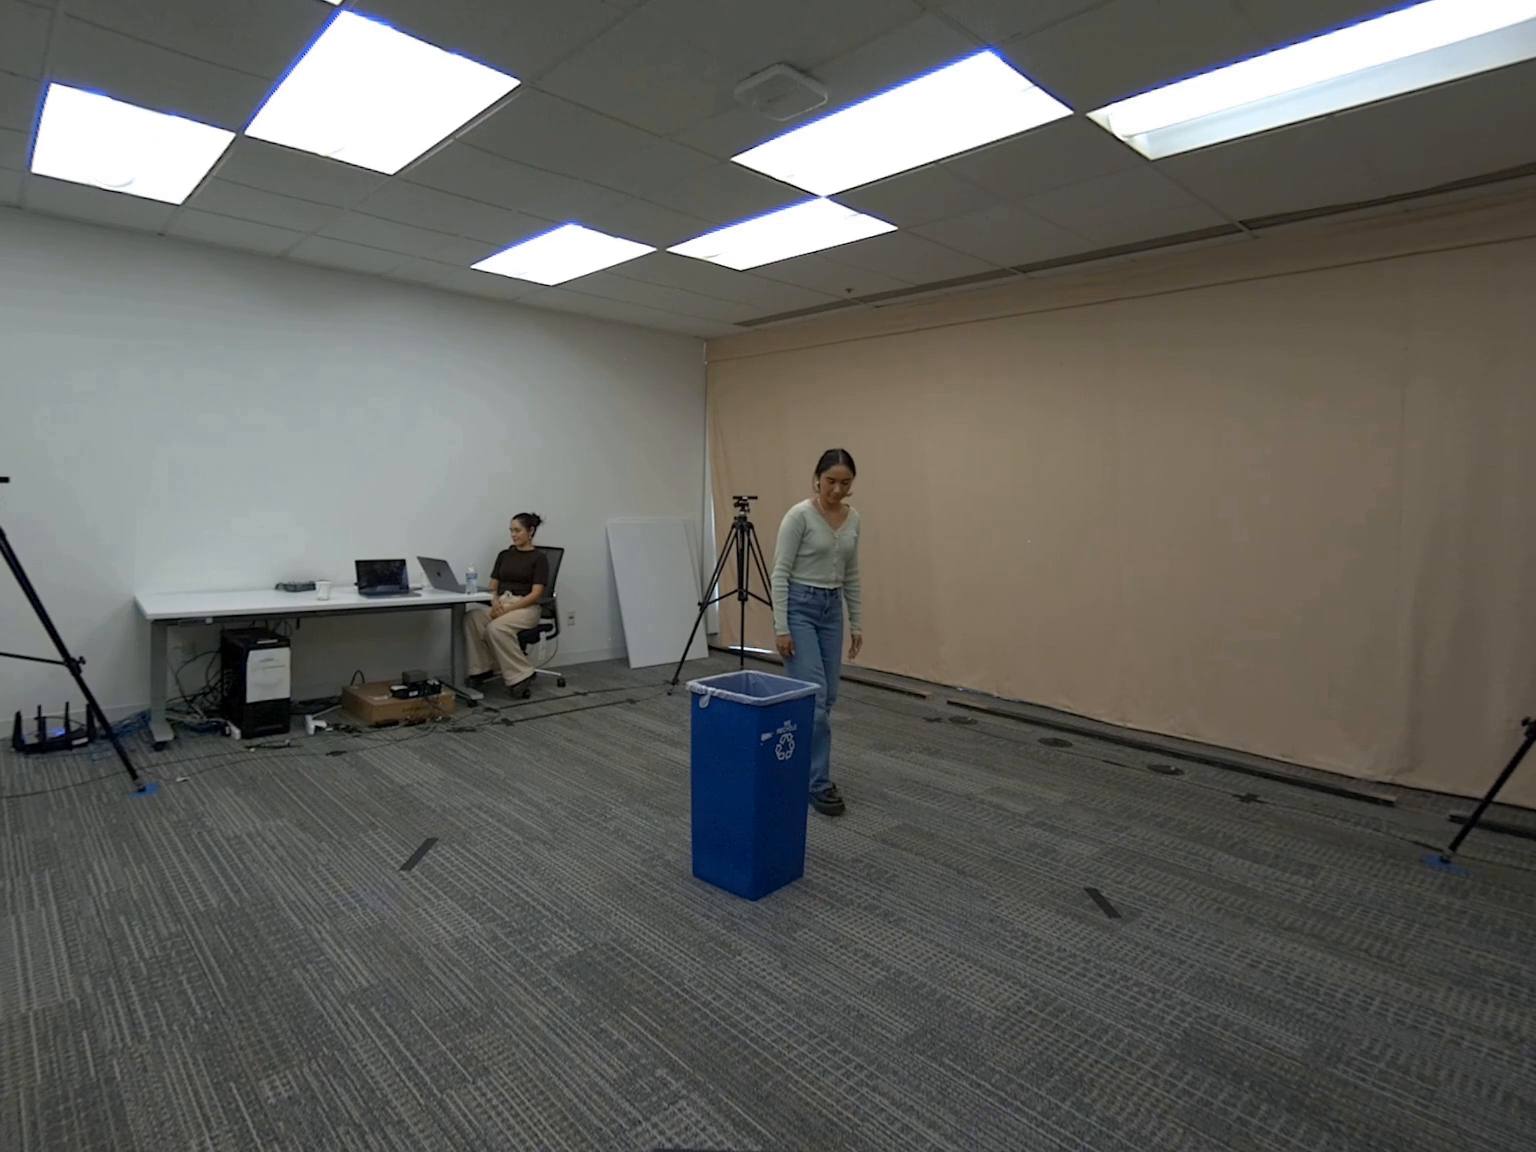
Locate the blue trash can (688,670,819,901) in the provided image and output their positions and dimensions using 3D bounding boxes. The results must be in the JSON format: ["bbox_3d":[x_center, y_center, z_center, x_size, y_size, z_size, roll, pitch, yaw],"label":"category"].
[{"bbox_3d":[-0.069,0.746,3.092,0.387,0.712,0.366,5,5,40],"label":"blue trash can"}]
